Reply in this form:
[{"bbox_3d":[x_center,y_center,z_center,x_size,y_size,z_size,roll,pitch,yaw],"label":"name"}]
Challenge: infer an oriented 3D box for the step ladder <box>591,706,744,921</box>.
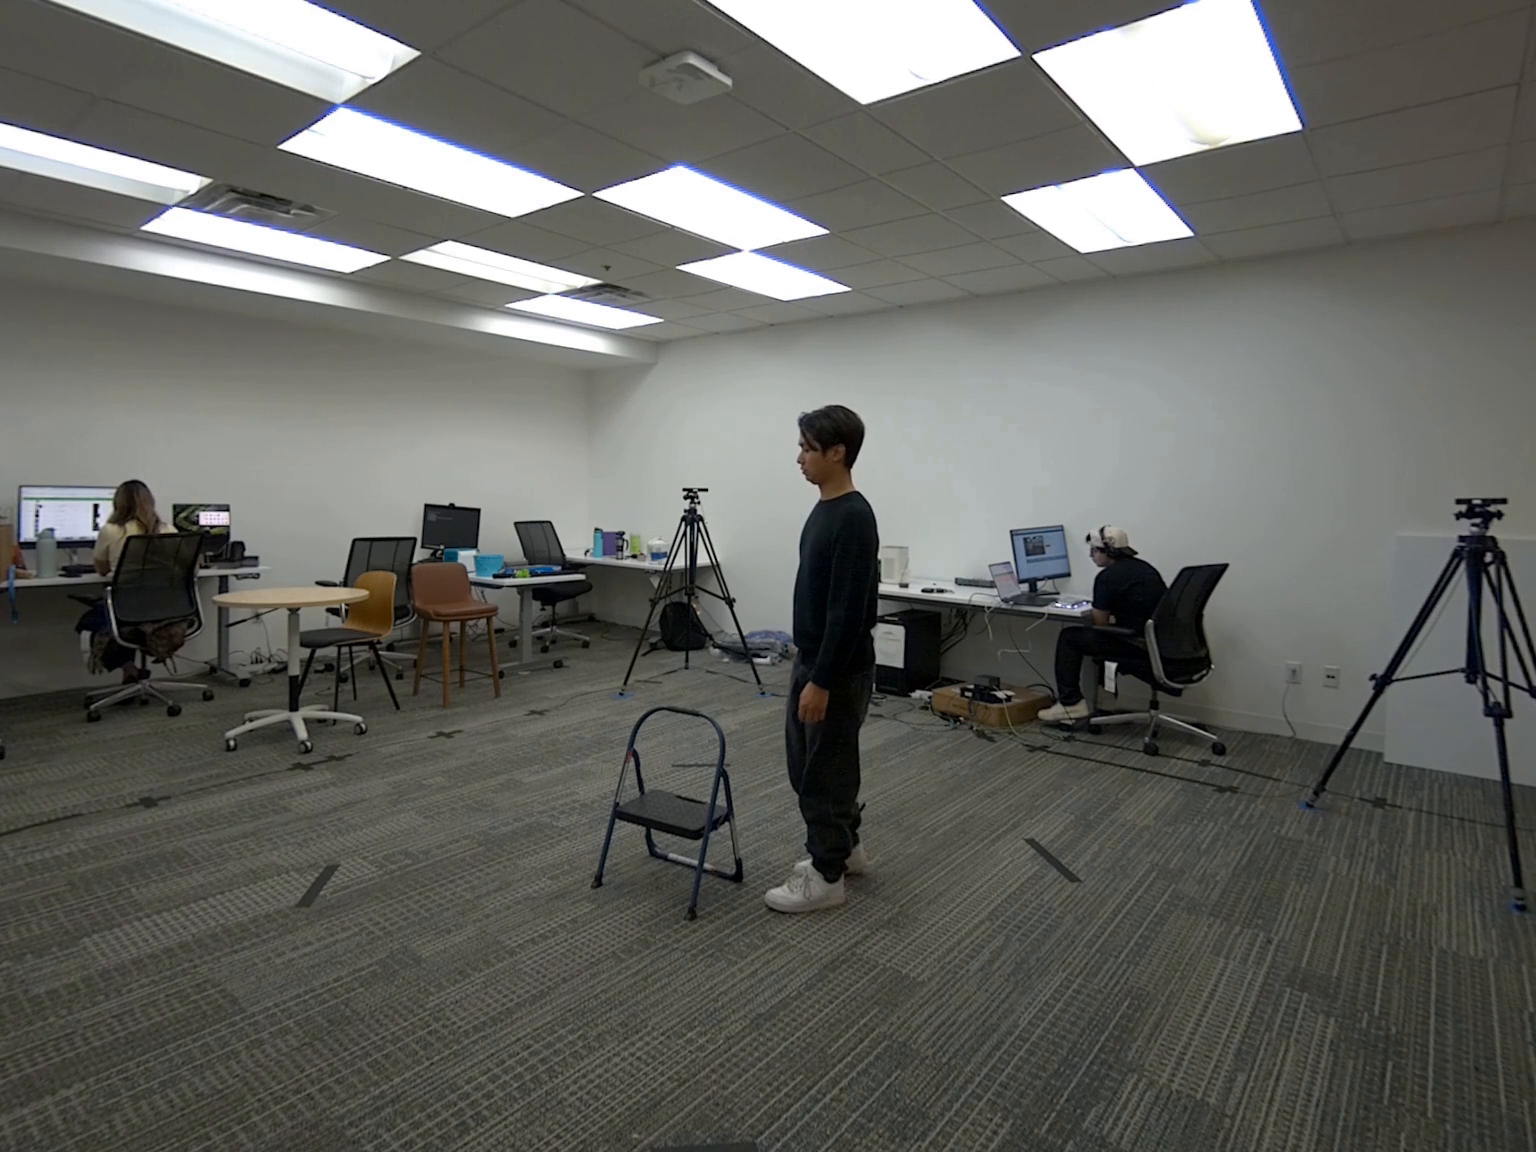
[{"bbox_3d":[-0.351,0.777,2.976,0.443,0.604,0.340,4,4,30],"label":"step ladder"}]
